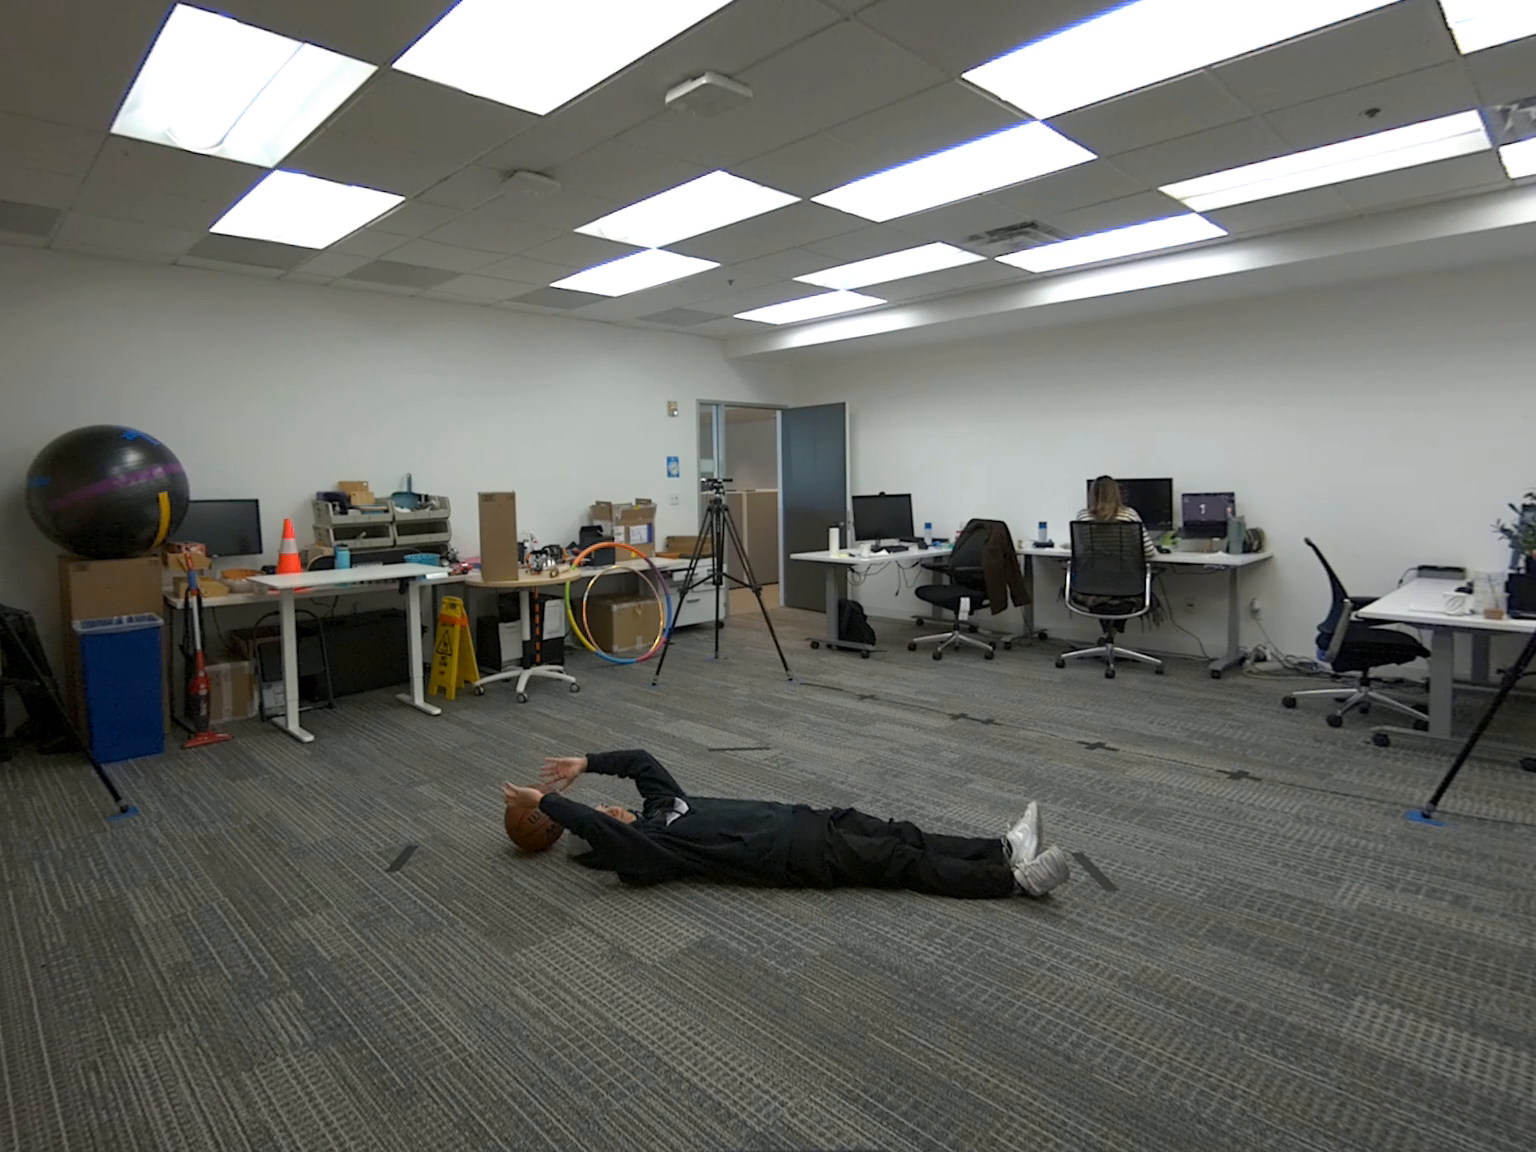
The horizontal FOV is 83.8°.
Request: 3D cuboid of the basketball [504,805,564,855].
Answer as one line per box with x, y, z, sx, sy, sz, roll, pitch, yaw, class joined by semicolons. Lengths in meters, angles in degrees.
-0.882;0.919;3.269;0.236;0.235;0.237;-1;5;-2;basketball
